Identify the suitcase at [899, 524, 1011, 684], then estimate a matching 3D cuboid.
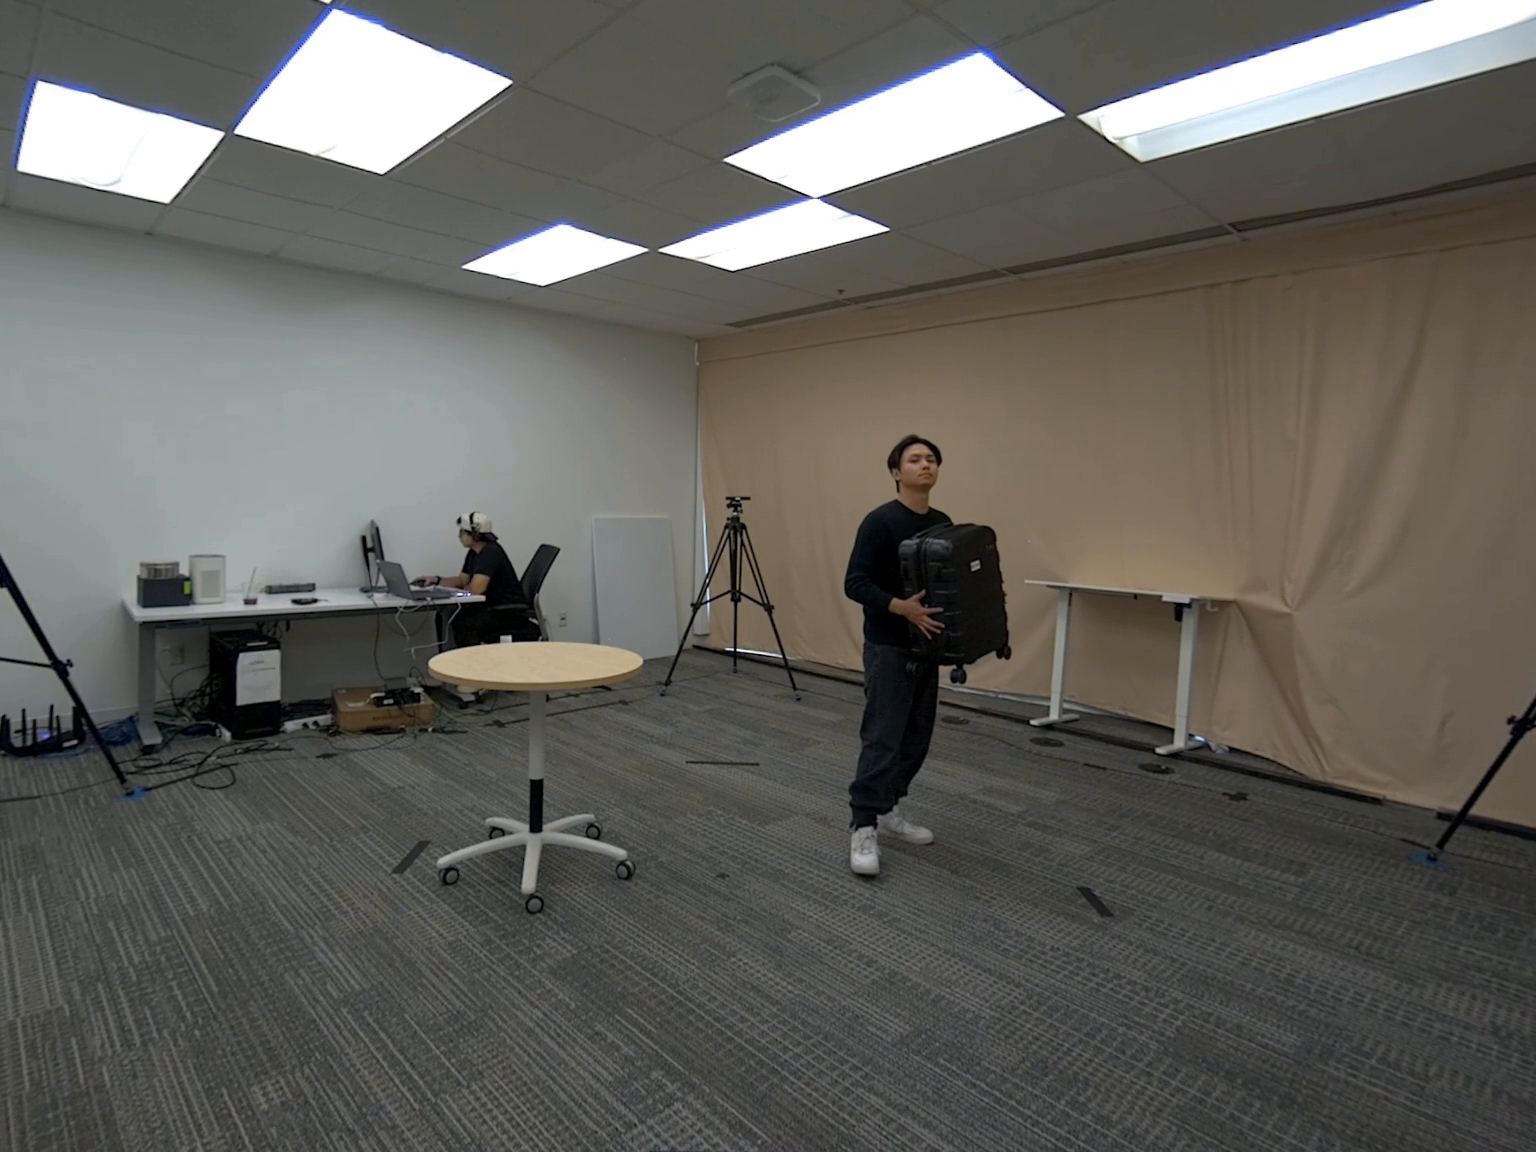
[{"bbox_3d":[0.701,0.079,3.242,0.369,0.545,0.254,-15,11,-40],"label":"suitcase"}]
